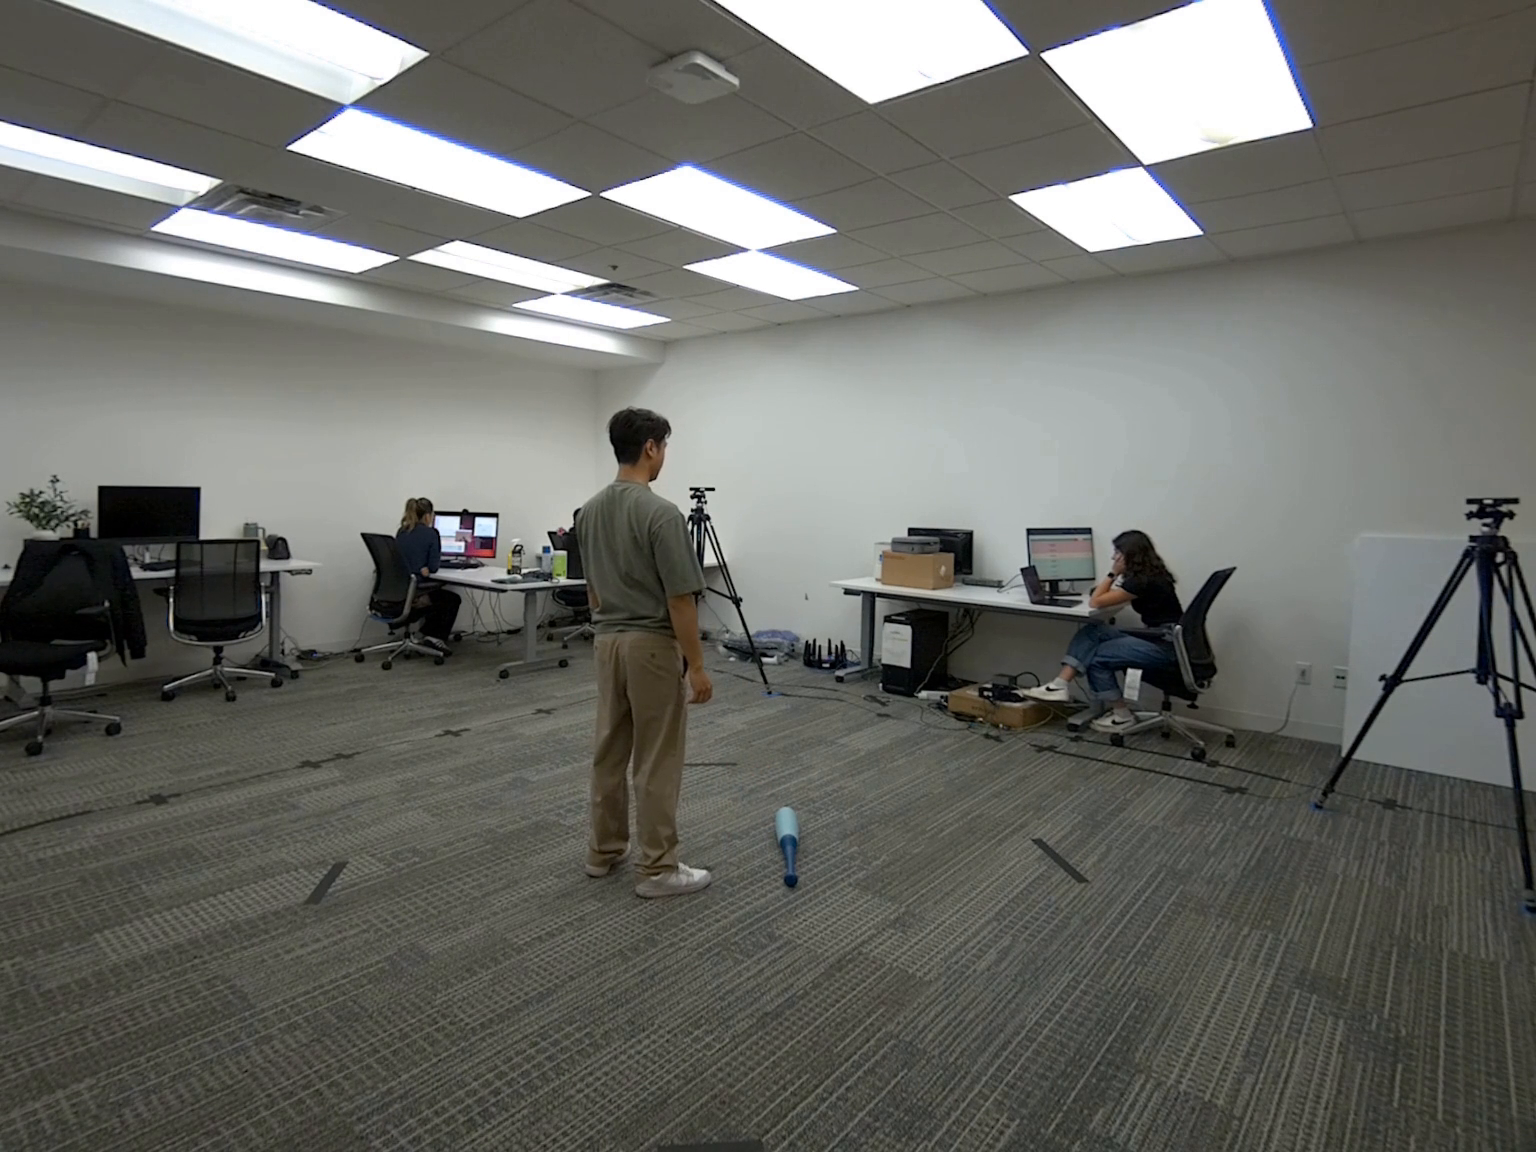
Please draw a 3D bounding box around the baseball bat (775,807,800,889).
[{"bbox_3d":[0.070,1.019,3.236,0.089,0.088,0.546,1,8,-1],"label":"baseball bat"}]
